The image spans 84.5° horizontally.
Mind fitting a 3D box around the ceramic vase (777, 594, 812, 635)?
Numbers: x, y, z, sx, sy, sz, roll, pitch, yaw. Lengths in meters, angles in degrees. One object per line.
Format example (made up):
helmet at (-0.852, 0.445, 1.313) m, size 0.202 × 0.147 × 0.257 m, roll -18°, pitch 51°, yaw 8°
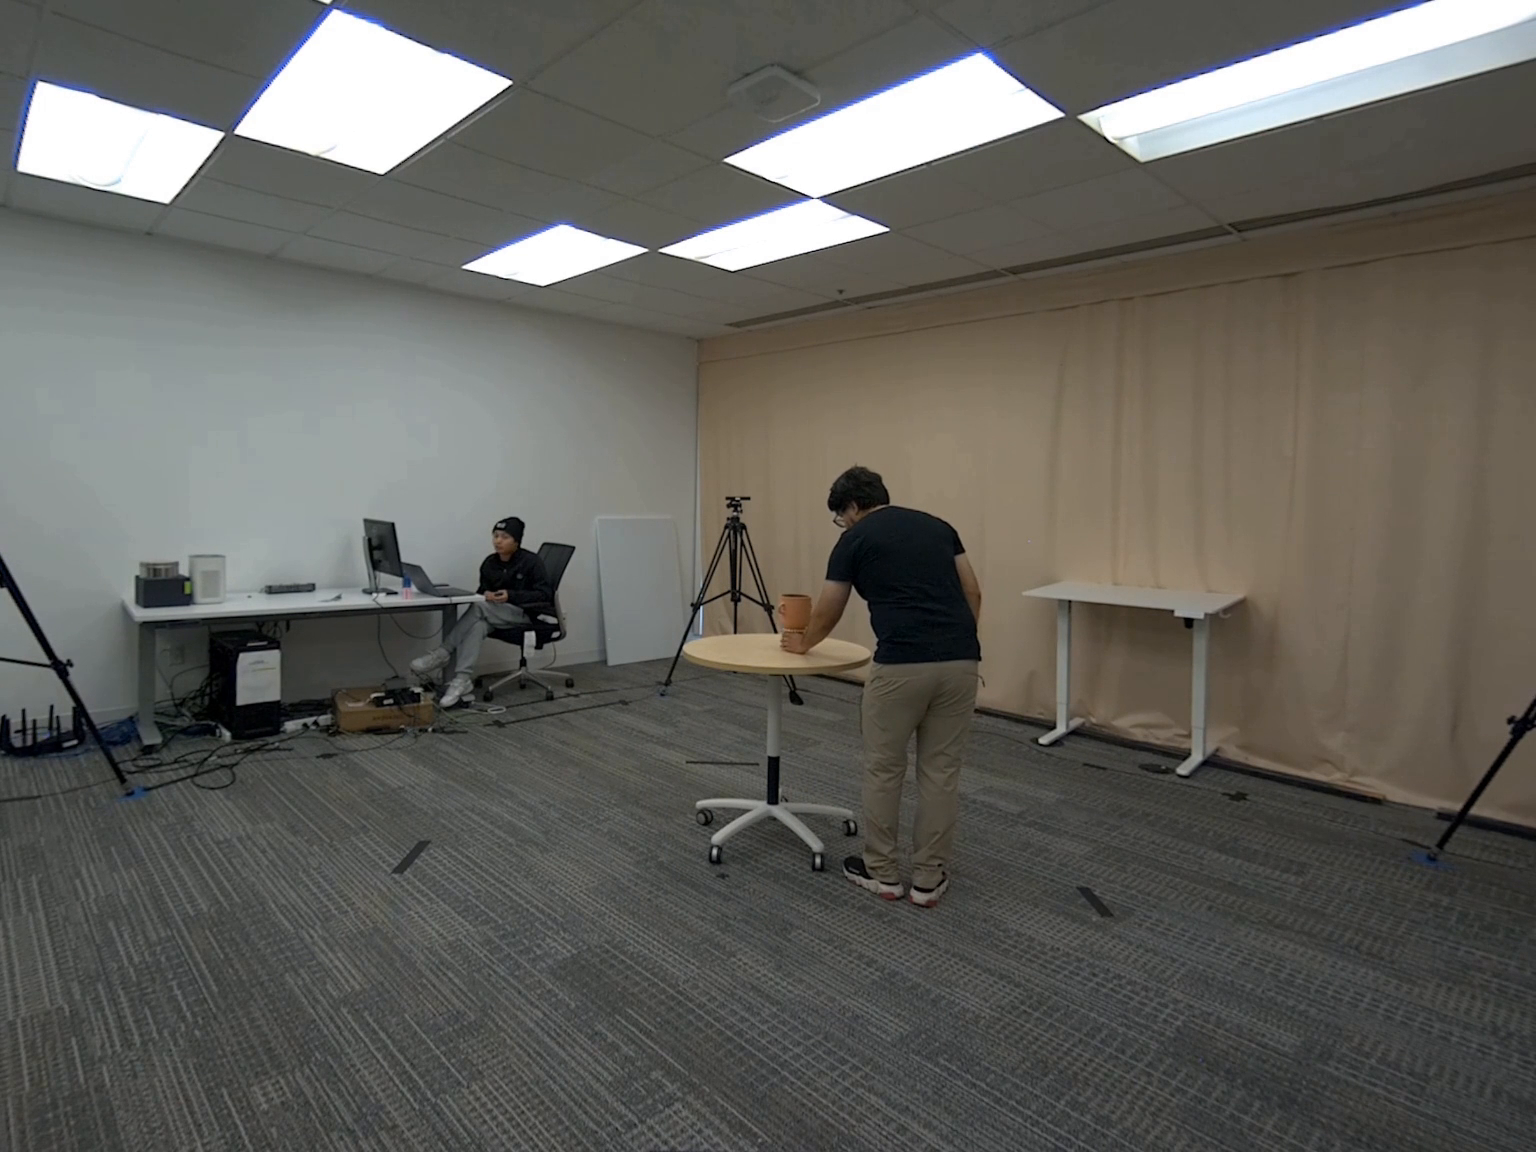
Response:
ceramic vase at (0.104, 0.193, 3.441) m, size 0.158 × 0.220 × 0.135 m, roll 2°, pitch 1°, yaw -5°
